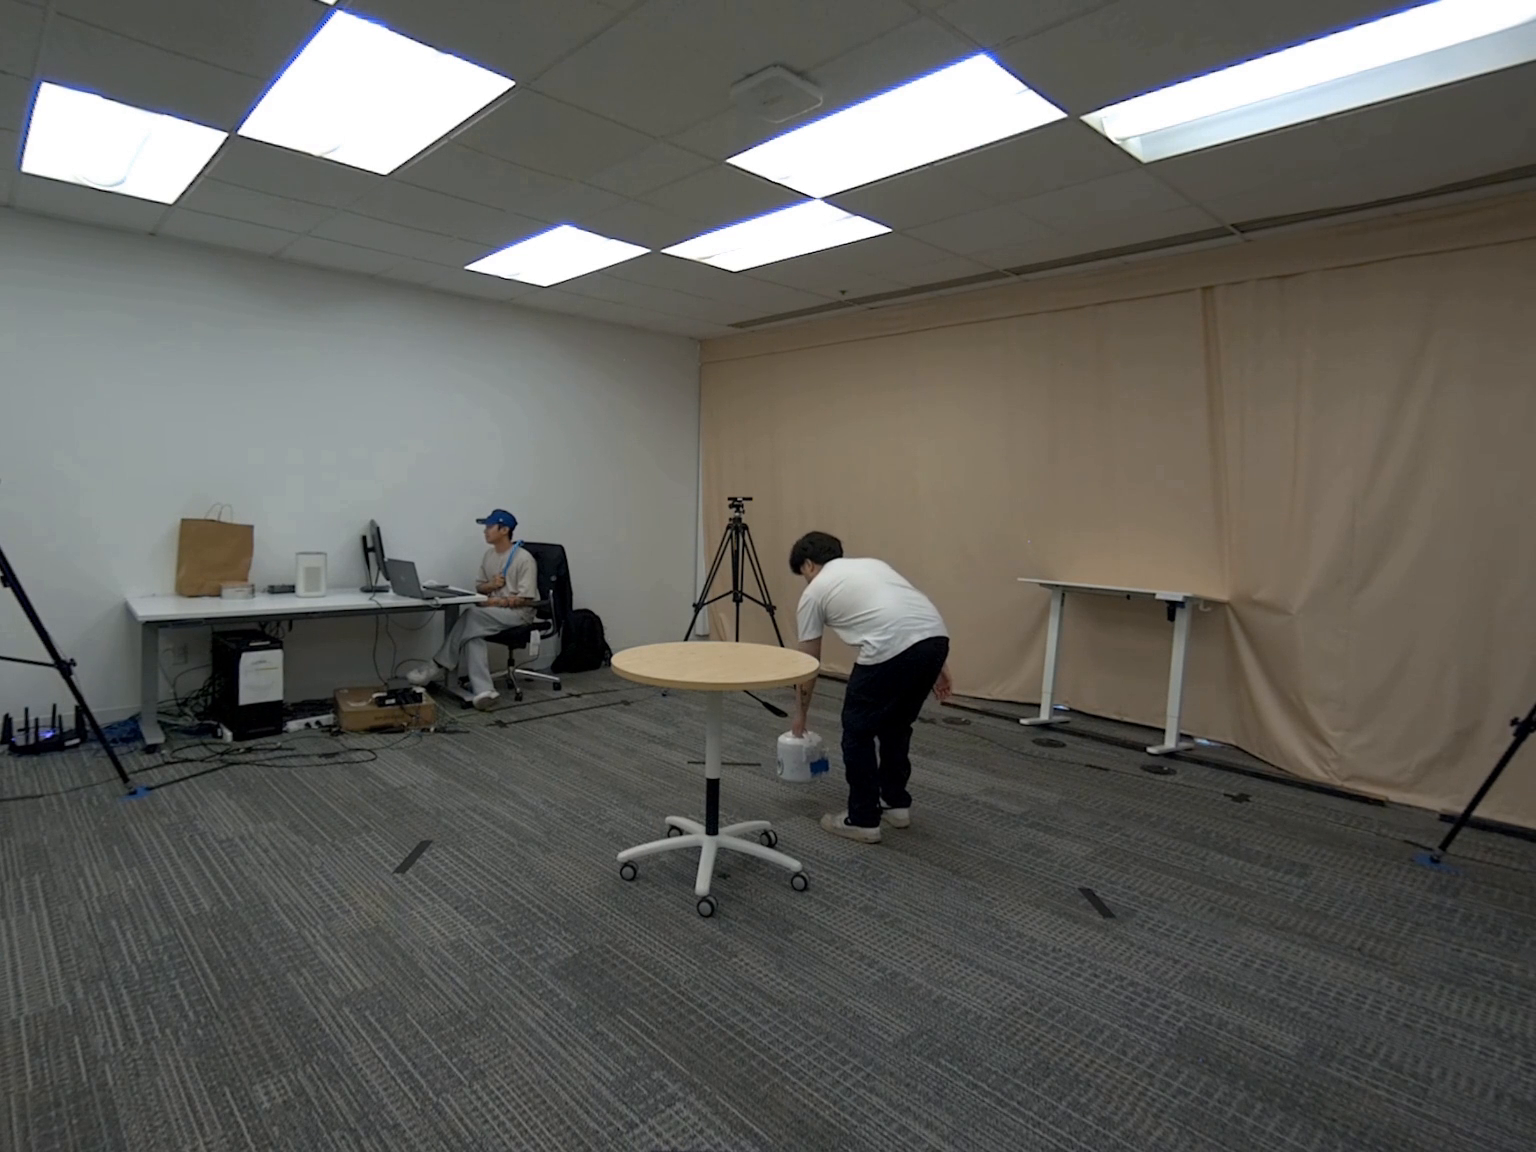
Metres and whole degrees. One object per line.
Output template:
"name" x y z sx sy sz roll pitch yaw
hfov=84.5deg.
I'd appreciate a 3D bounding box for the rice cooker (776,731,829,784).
"rice cooker" 0.140 0.814 3.875 0.214 0.232 0.224 -2 2 -24
